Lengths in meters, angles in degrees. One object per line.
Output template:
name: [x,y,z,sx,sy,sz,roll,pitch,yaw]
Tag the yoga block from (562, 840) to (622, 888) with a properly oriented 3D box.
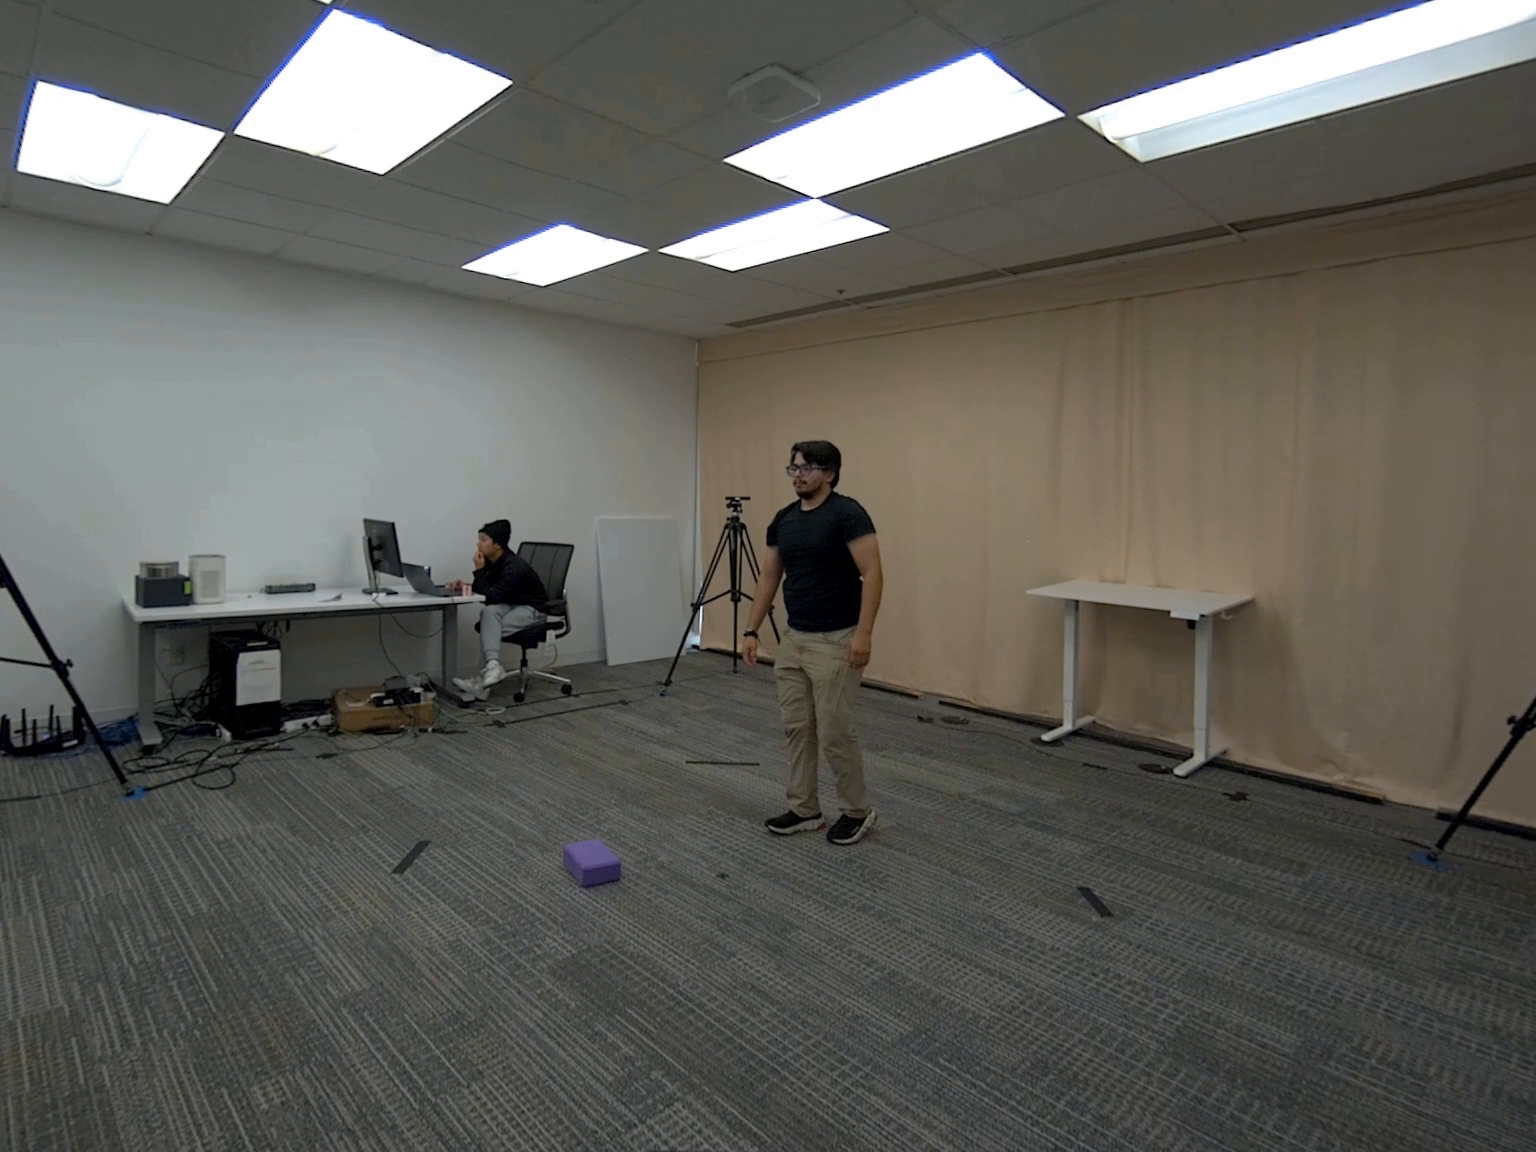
yoga block: [-0.659,1.054,3.103,0.146,0.076,0.235,-1,6,-31]
